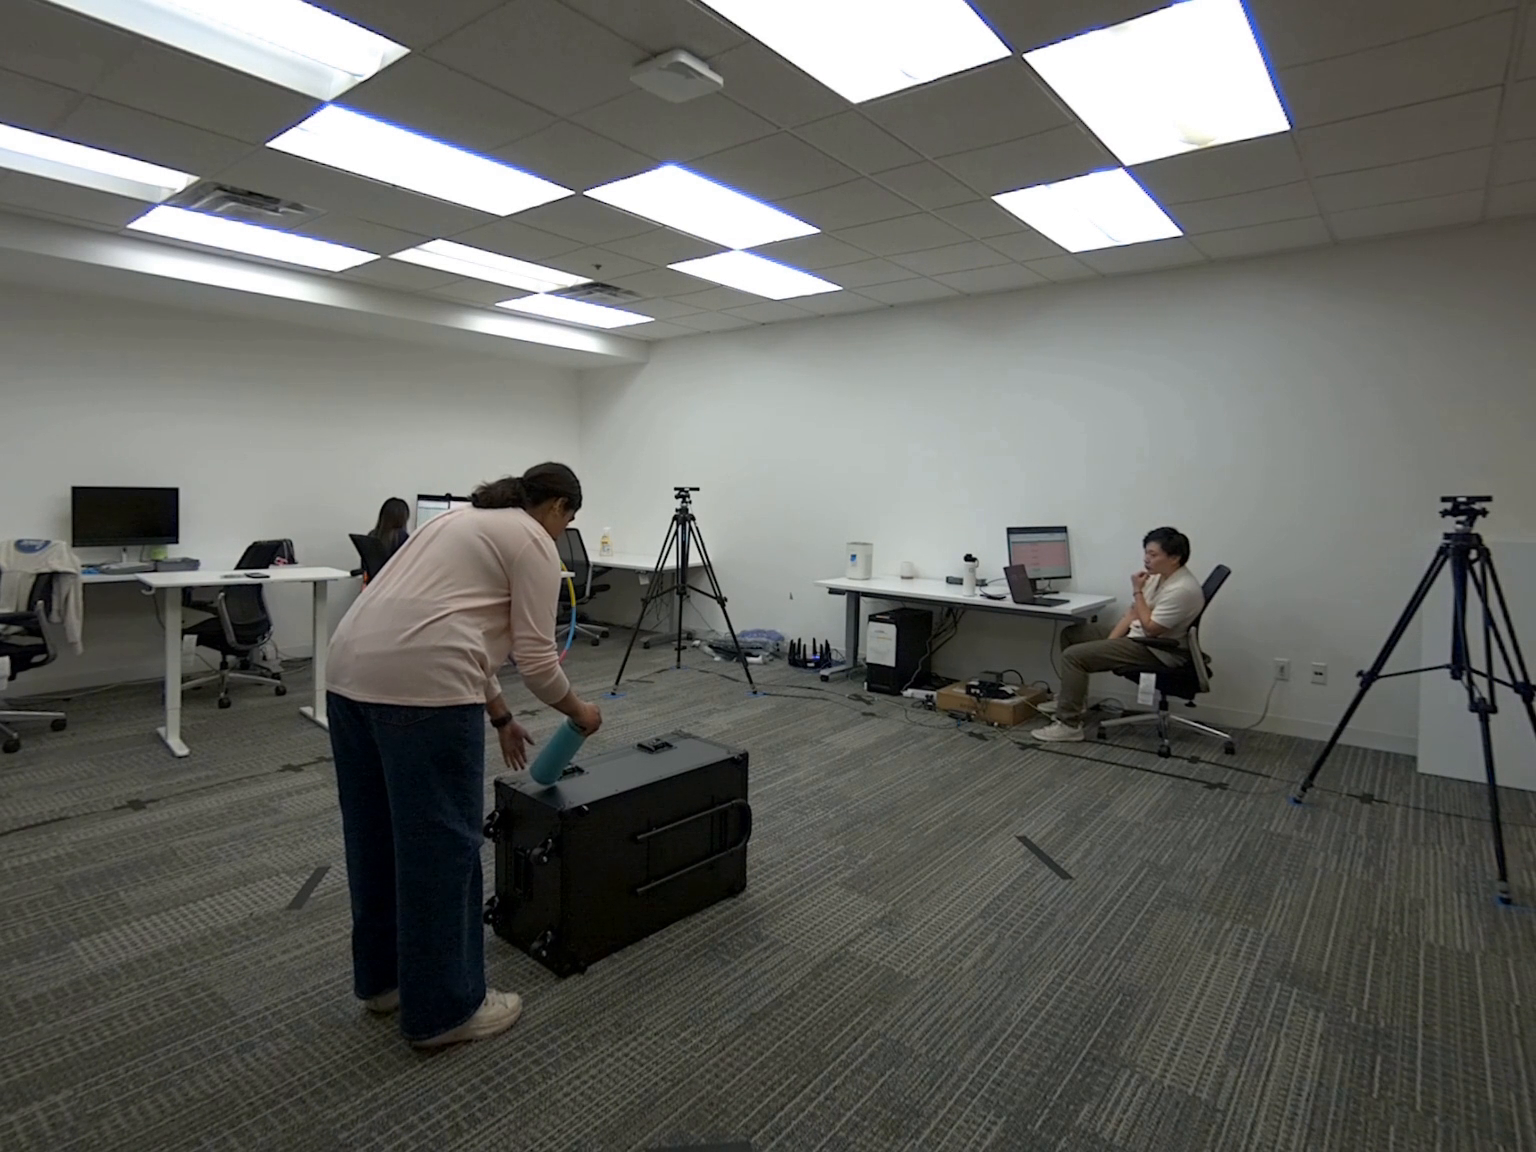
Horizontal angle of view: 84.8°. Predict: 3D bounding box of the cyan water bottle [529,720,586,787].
[{"bbox_3d":[-0.633,0.503,2.520,0.091,0.281,0.094,25,21,-12],"label":"cyan water bottle"}]
